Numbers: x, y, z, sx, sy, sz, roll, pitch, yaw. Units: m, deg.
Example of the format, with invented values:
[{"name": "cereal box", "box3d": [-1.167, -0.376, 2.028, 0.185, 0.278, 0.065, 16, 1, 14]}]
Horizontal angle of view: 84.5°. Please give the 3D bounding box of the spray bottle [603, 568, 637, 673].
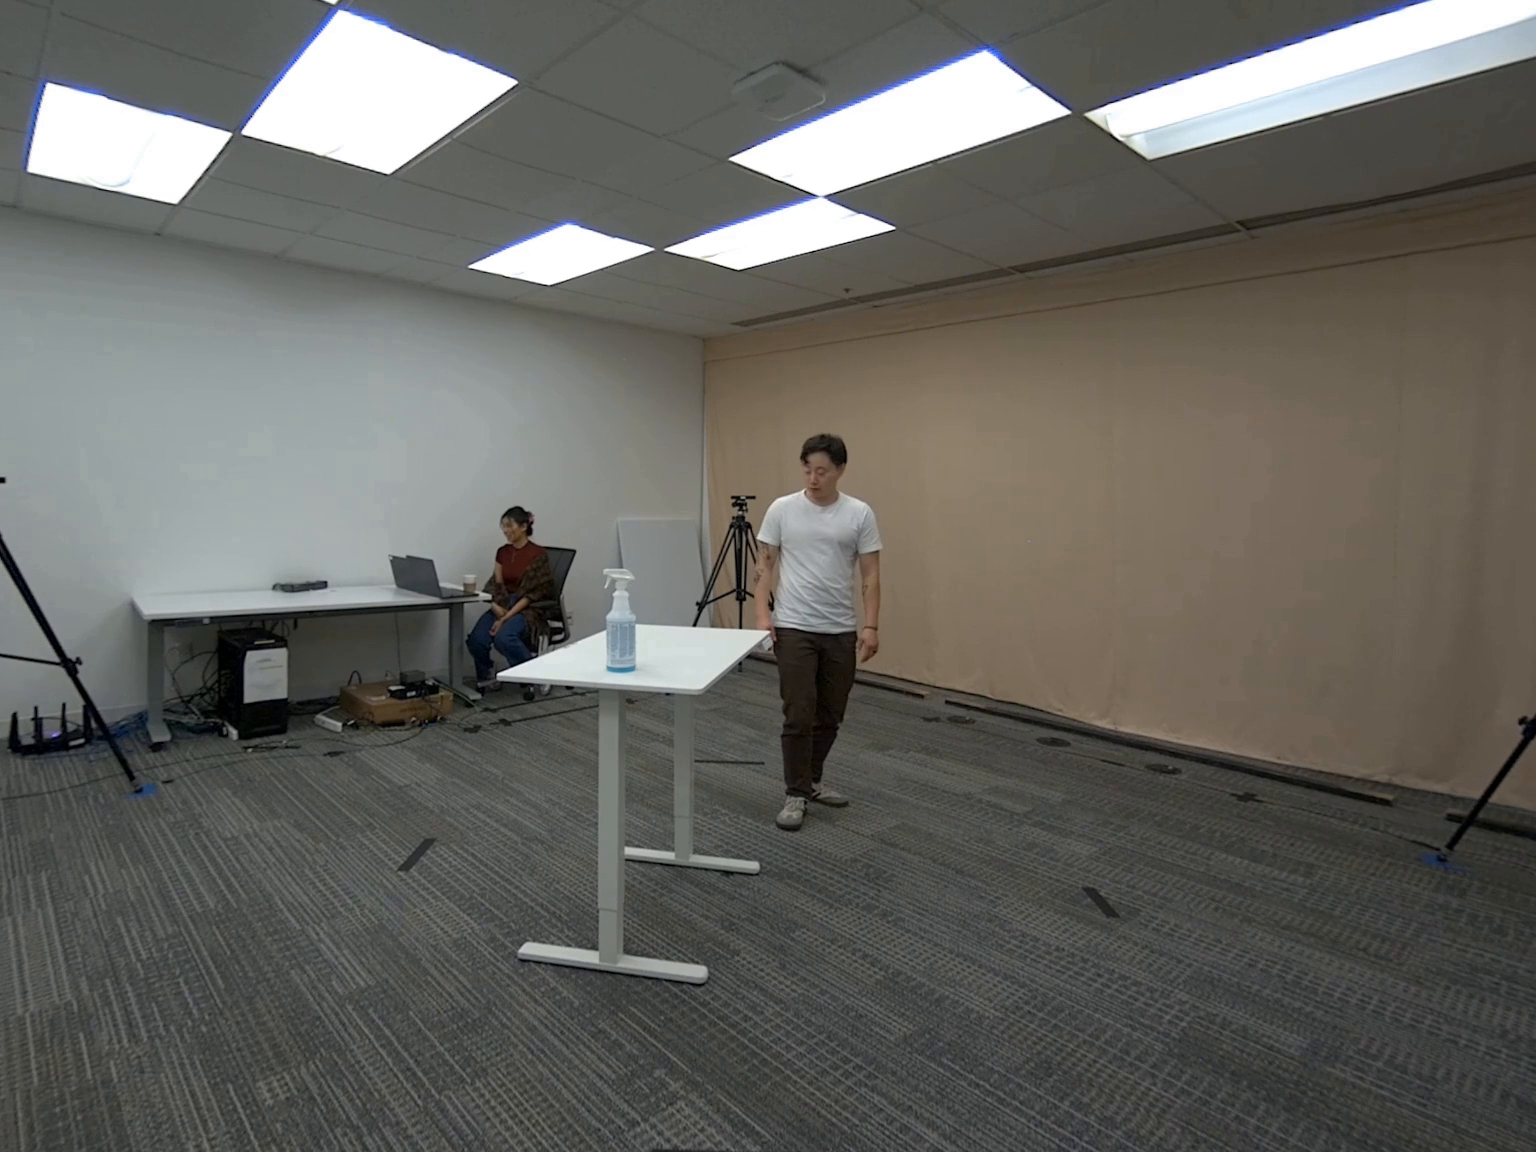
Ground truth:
[{"name": "spray bottle", "box3d": [-0.438, 0.130, 2.450, 0.090, 0.296, 0.087, 0, 4, 1]}]
